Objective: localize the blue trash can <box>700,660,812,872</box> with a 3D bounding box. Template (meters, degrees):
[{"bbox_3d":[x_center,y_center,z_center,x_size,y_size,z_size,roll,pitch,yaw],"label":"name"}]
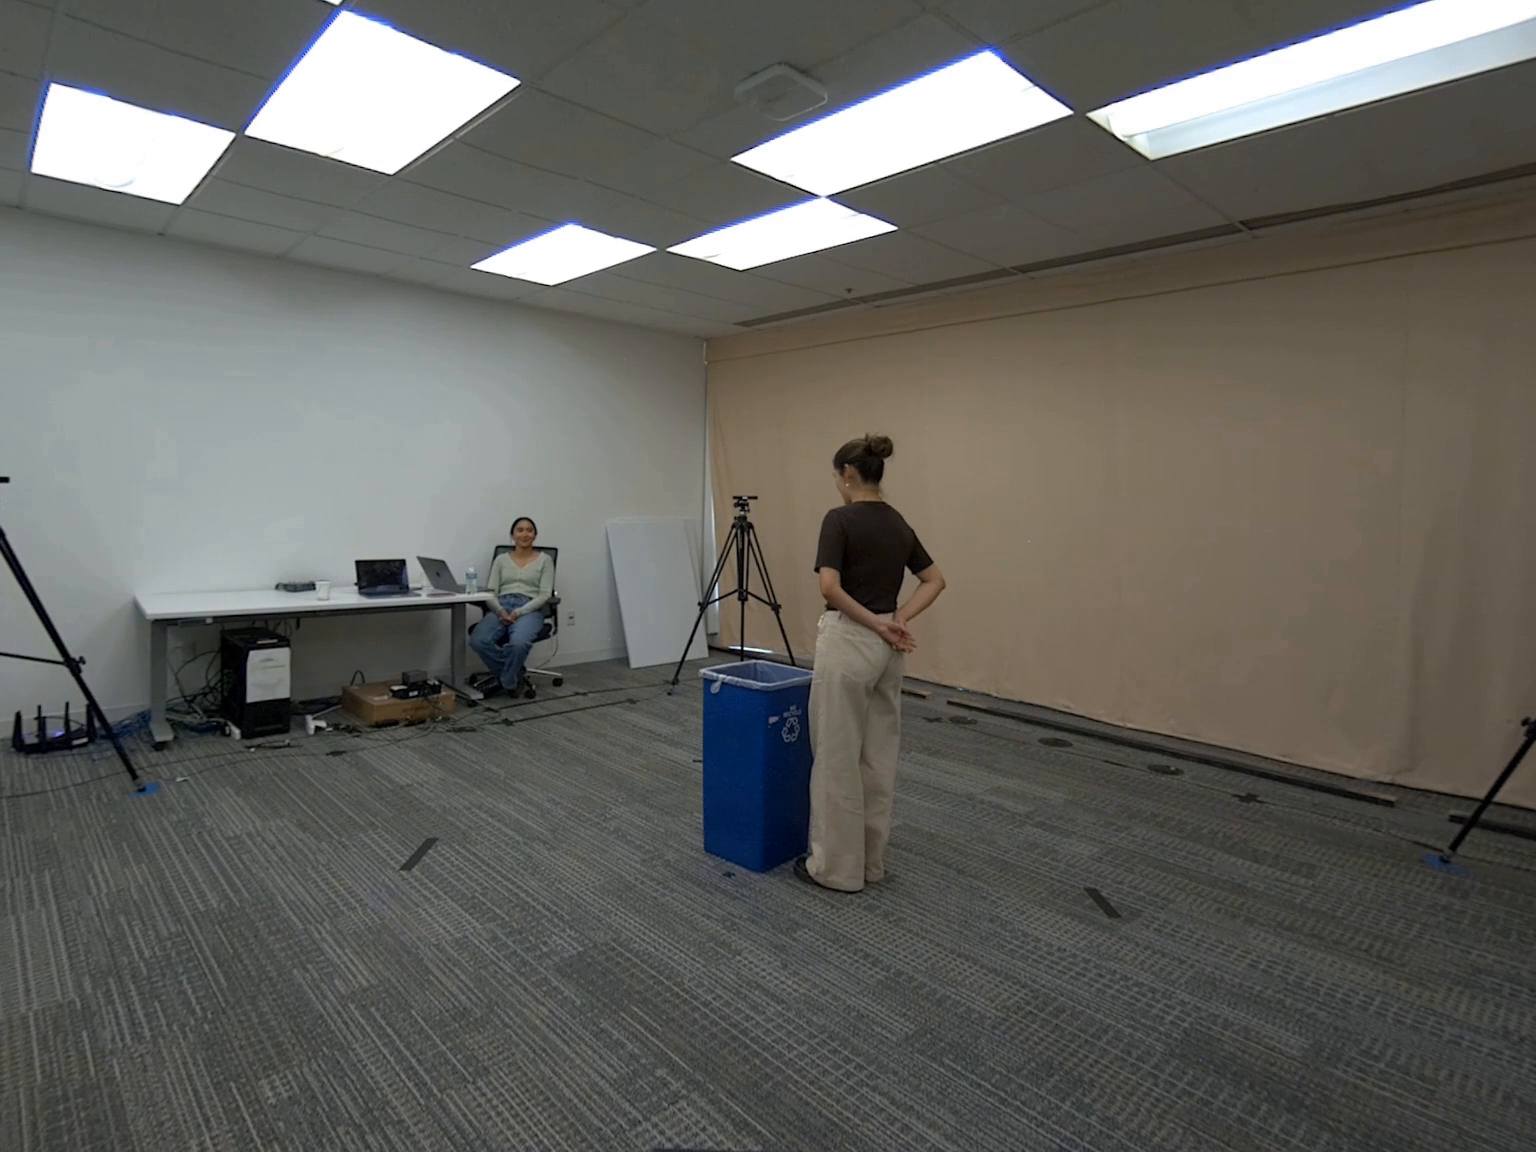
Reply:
[{"bbox_3d":[-0.035,0.729,3.309,0.383,0.712,0.369,4,3,41],"label":"blue trash can"}]
